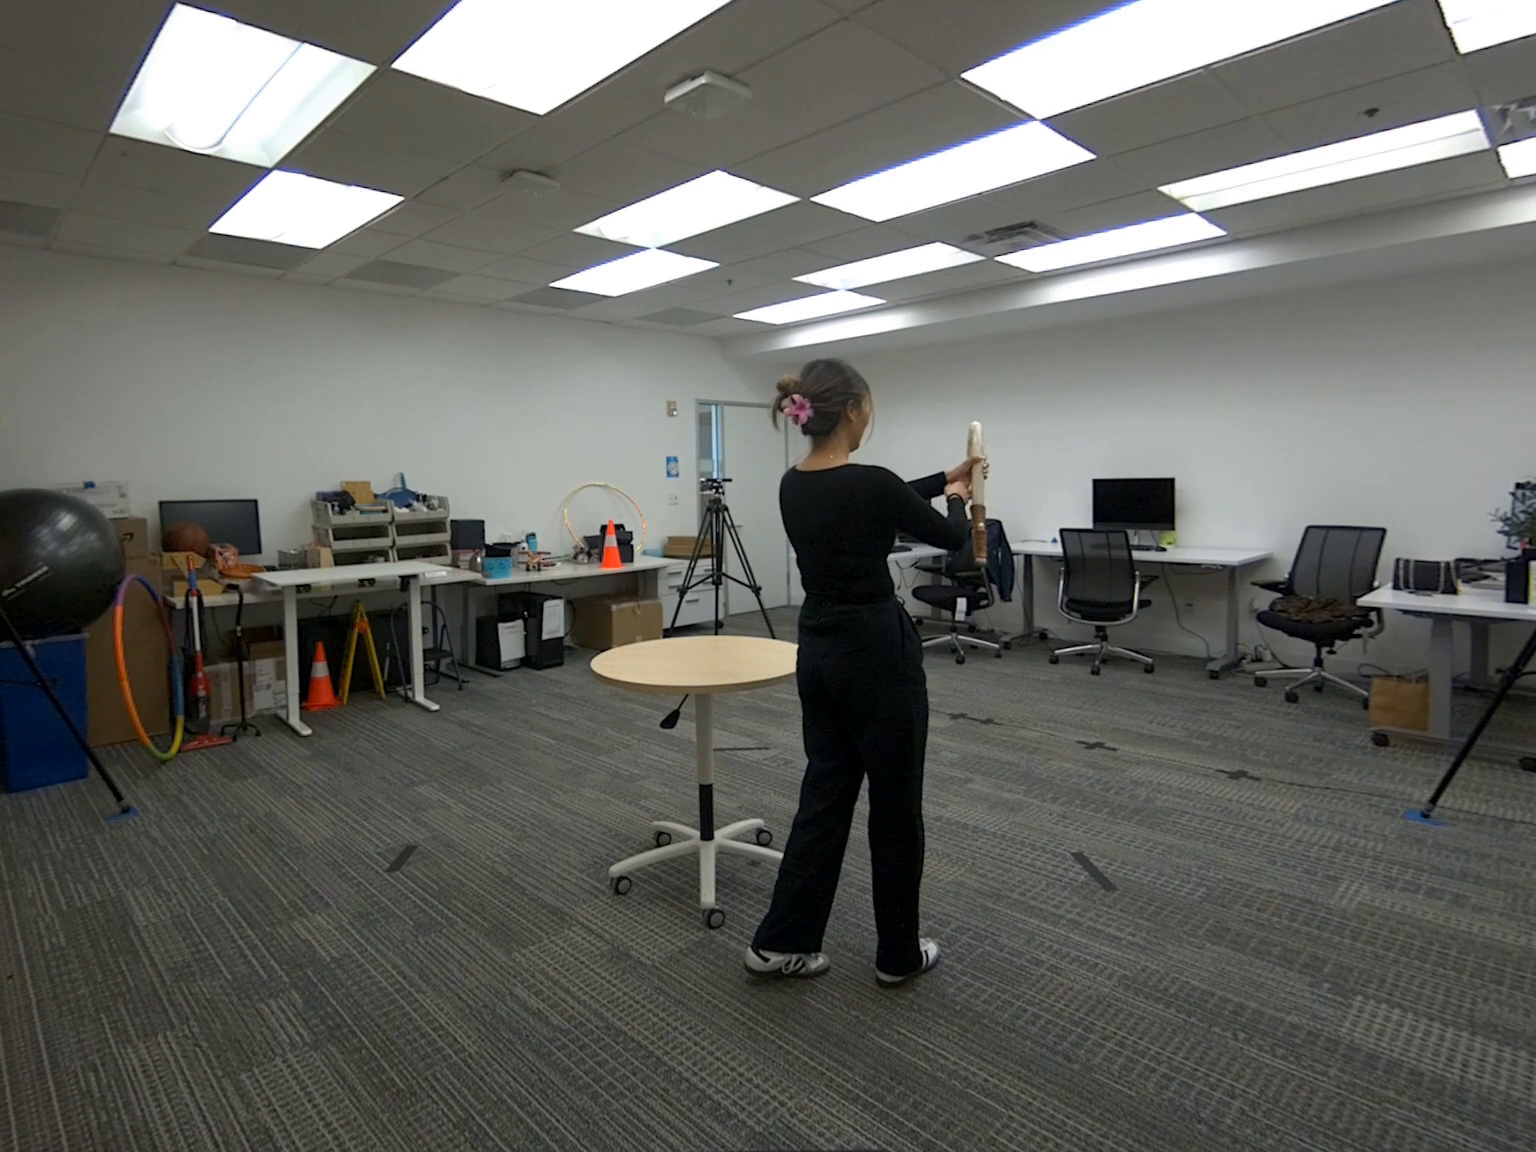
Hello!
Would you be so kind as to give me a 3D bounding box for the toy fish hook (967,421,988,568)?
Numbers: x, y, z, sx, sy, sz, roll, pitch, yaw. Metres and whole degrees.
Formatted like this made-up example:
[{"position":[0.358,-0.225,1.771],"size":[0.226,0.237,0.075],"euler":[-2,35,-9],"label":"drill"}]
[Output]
[{"position":[0.645,-0.236,2.652],"size":[0.049,0.516,0.217],"euler":[-1,-25,12],"label":"toy fish hook"}]
